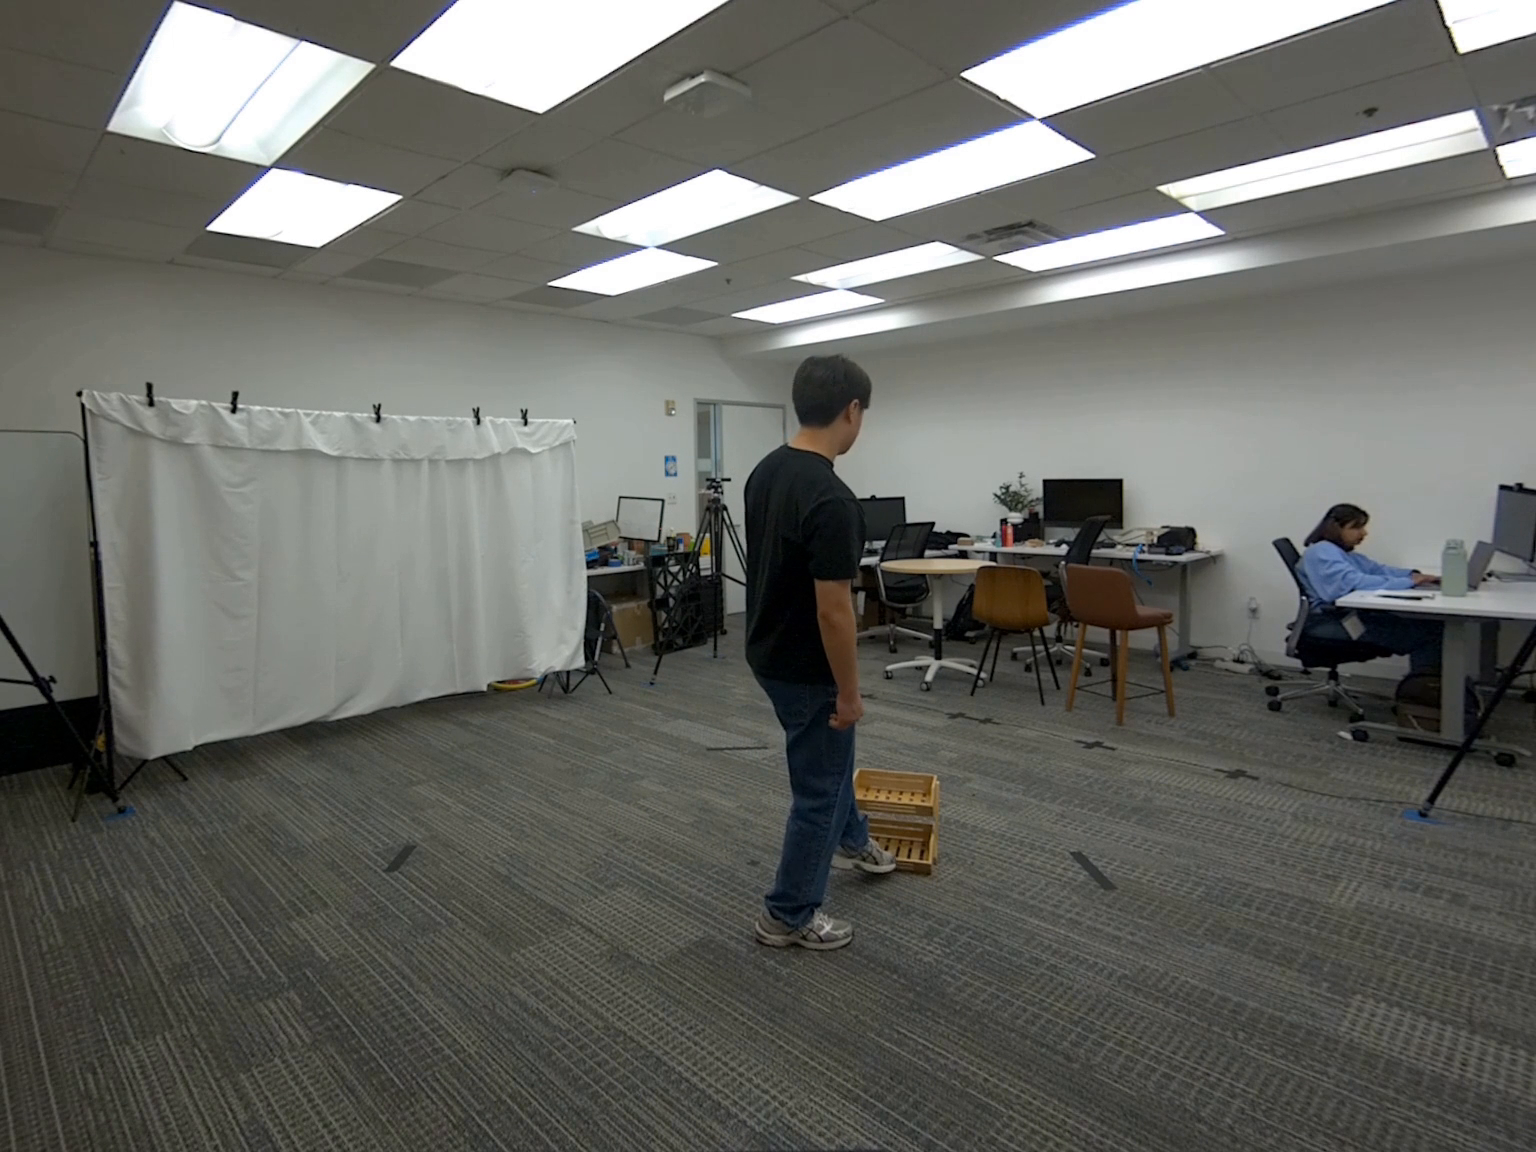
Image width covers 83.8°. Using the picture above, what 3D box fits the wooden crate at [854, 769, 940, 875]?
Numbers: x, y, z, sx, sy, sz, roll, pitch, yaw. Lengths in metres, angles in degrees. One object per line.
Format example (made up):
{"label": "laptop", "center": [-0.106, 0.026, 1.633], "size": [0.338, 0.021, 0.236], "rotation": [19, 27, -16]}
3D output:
{"label": "wooden crate", "center": [0.464, 0.894, 3.147], "size": [0.330, 0.272, 0.298], "rotation": [0, 5, 16]}
